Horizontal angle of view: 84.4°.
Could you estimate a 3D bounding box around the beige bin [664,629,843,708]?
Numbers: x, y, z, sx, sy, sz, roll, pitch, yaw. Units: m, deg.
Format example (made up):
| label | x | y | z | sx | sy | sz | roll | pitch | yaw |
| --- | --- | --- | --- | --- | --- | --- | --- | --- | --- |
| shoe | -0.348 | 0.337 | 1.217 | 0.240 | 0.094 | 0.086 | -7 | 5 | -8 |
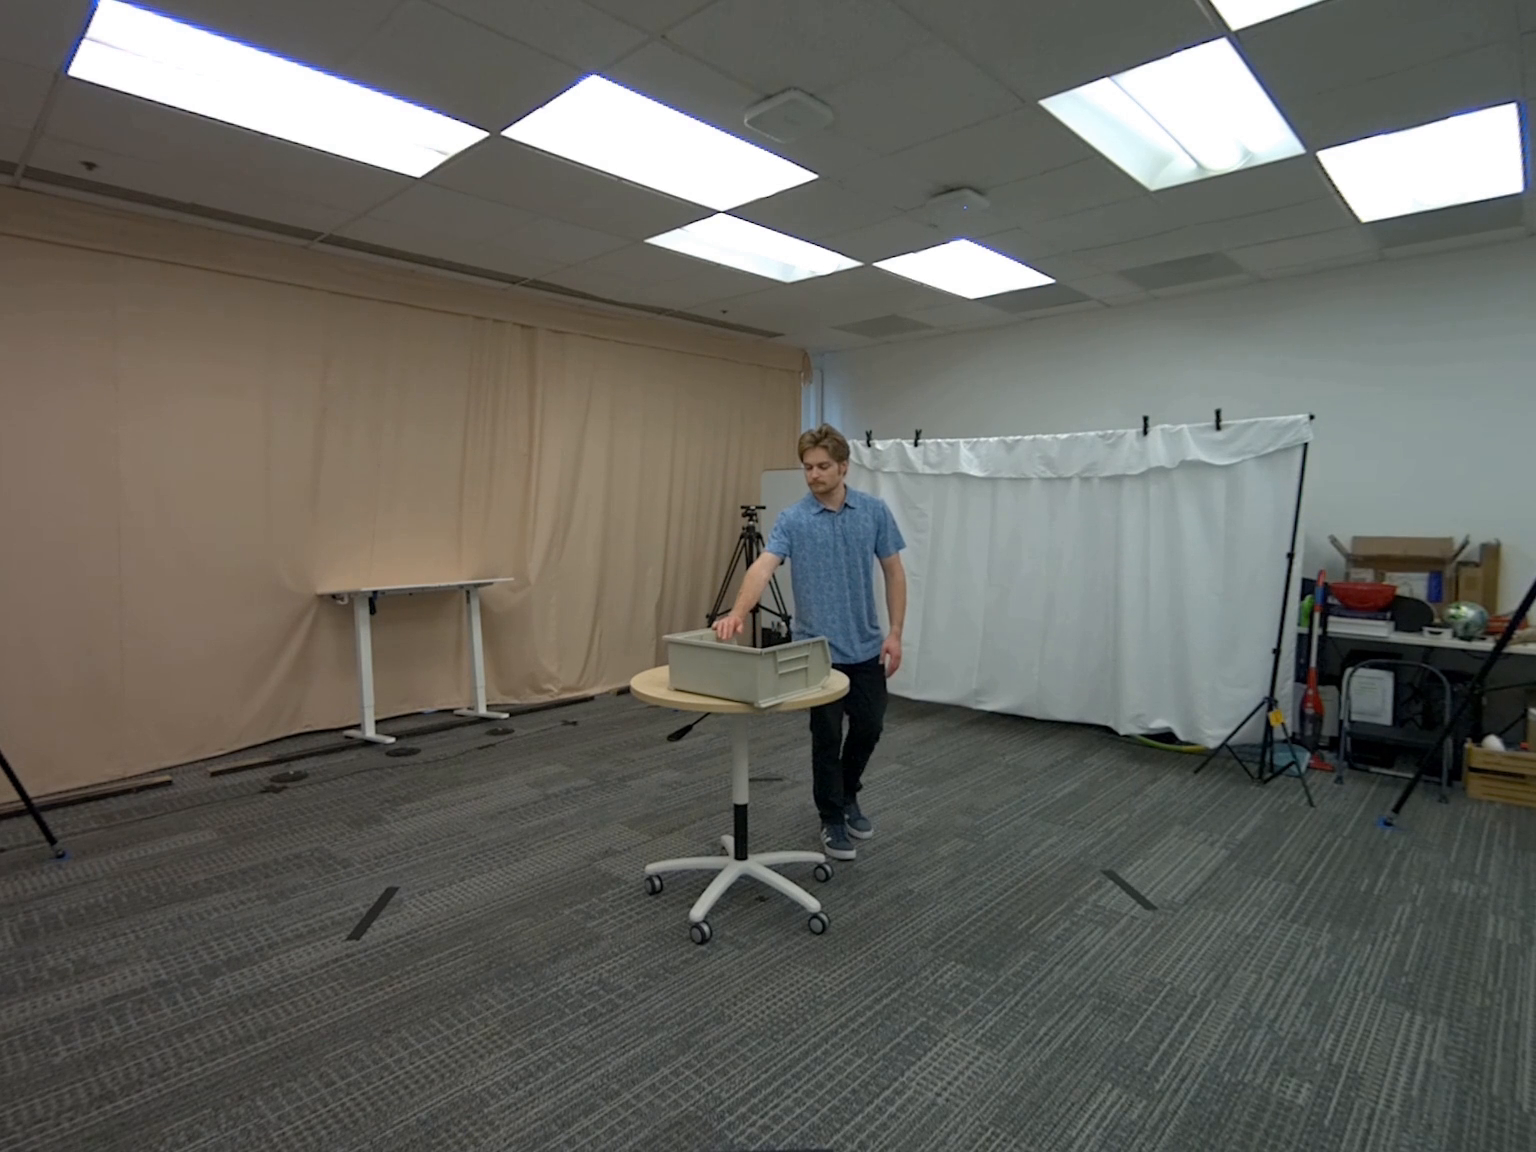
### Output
| label | x | y | z | sx | sy | sz | roll | pitch | yaw |
| --- | --- | --- | --- | --- | --- | --- | --- | --- | --- |
| beige bin | -0.065 | 0.288 | 2.786 | 0.436 | 0.188 | 0.366 | 4 | 7 | 40 |
